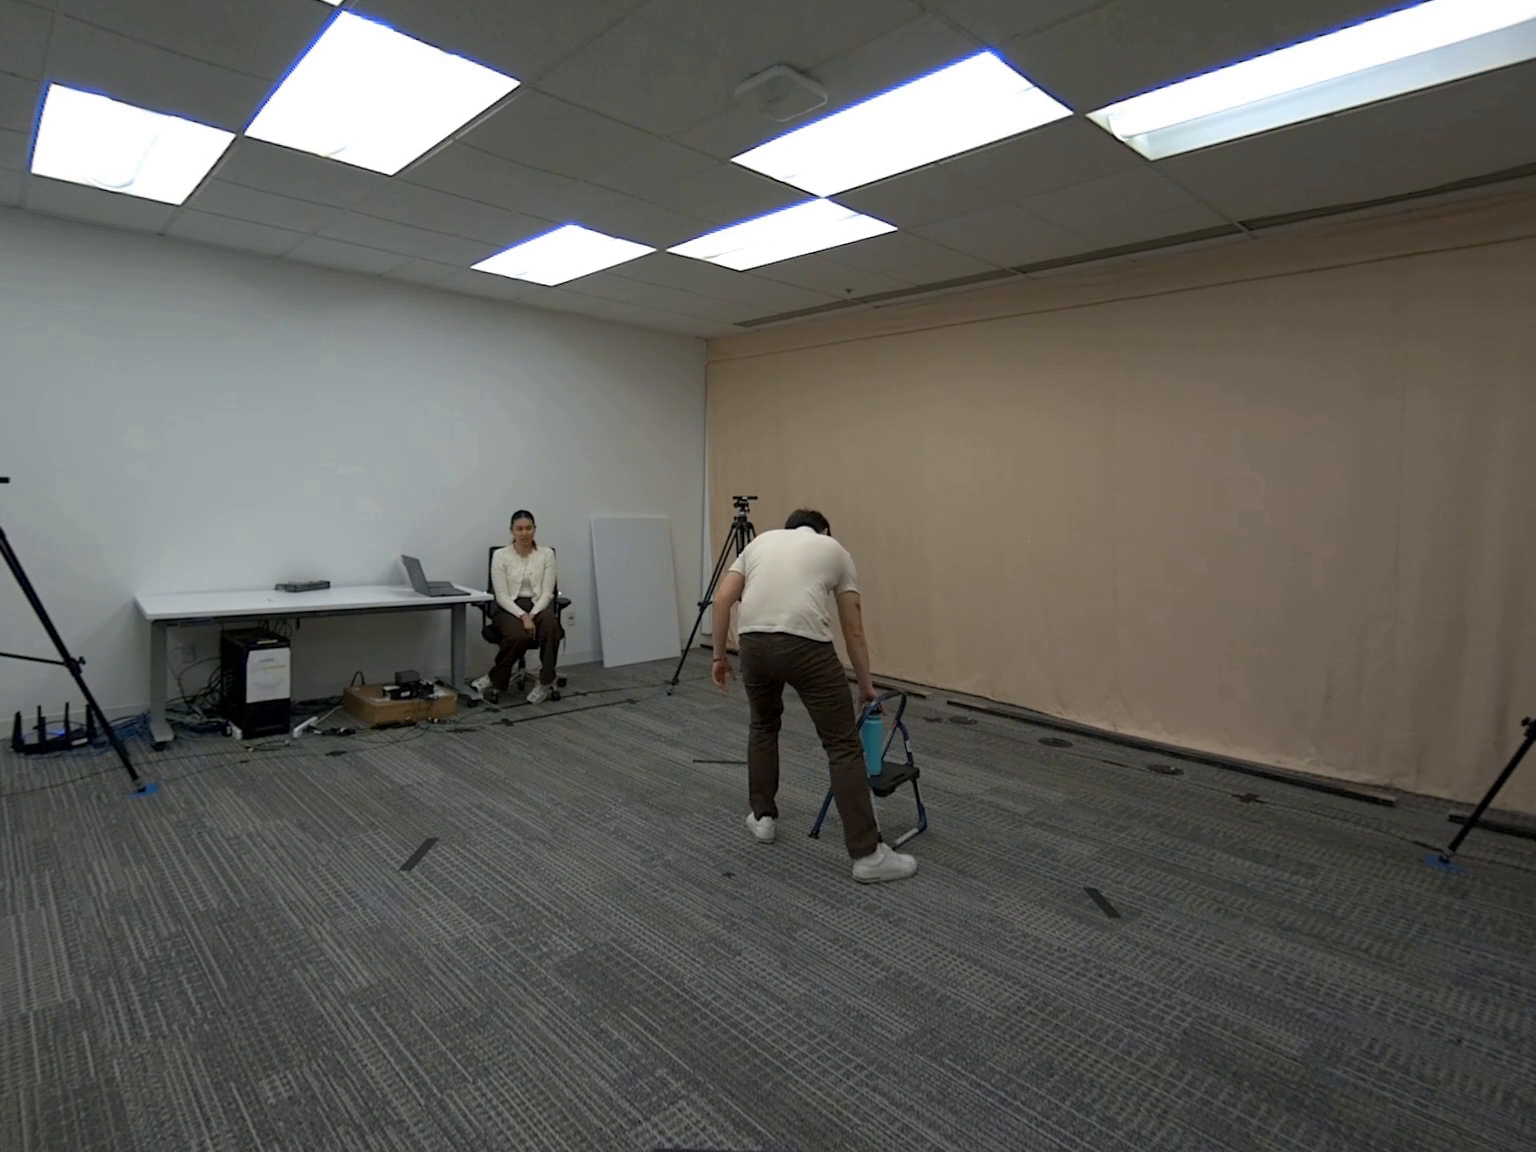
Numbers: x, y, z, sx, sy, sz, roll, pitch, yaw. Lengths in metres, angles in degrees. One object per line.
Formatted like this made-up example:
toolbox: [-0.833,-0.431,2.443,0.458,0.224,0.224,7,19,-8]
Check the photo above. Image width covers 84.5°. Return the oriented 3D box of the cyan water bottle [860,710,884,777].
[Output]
cyan water bottle: [0.417,0.675,3.511,0.092,0.283,0.092,1,2,-1]
